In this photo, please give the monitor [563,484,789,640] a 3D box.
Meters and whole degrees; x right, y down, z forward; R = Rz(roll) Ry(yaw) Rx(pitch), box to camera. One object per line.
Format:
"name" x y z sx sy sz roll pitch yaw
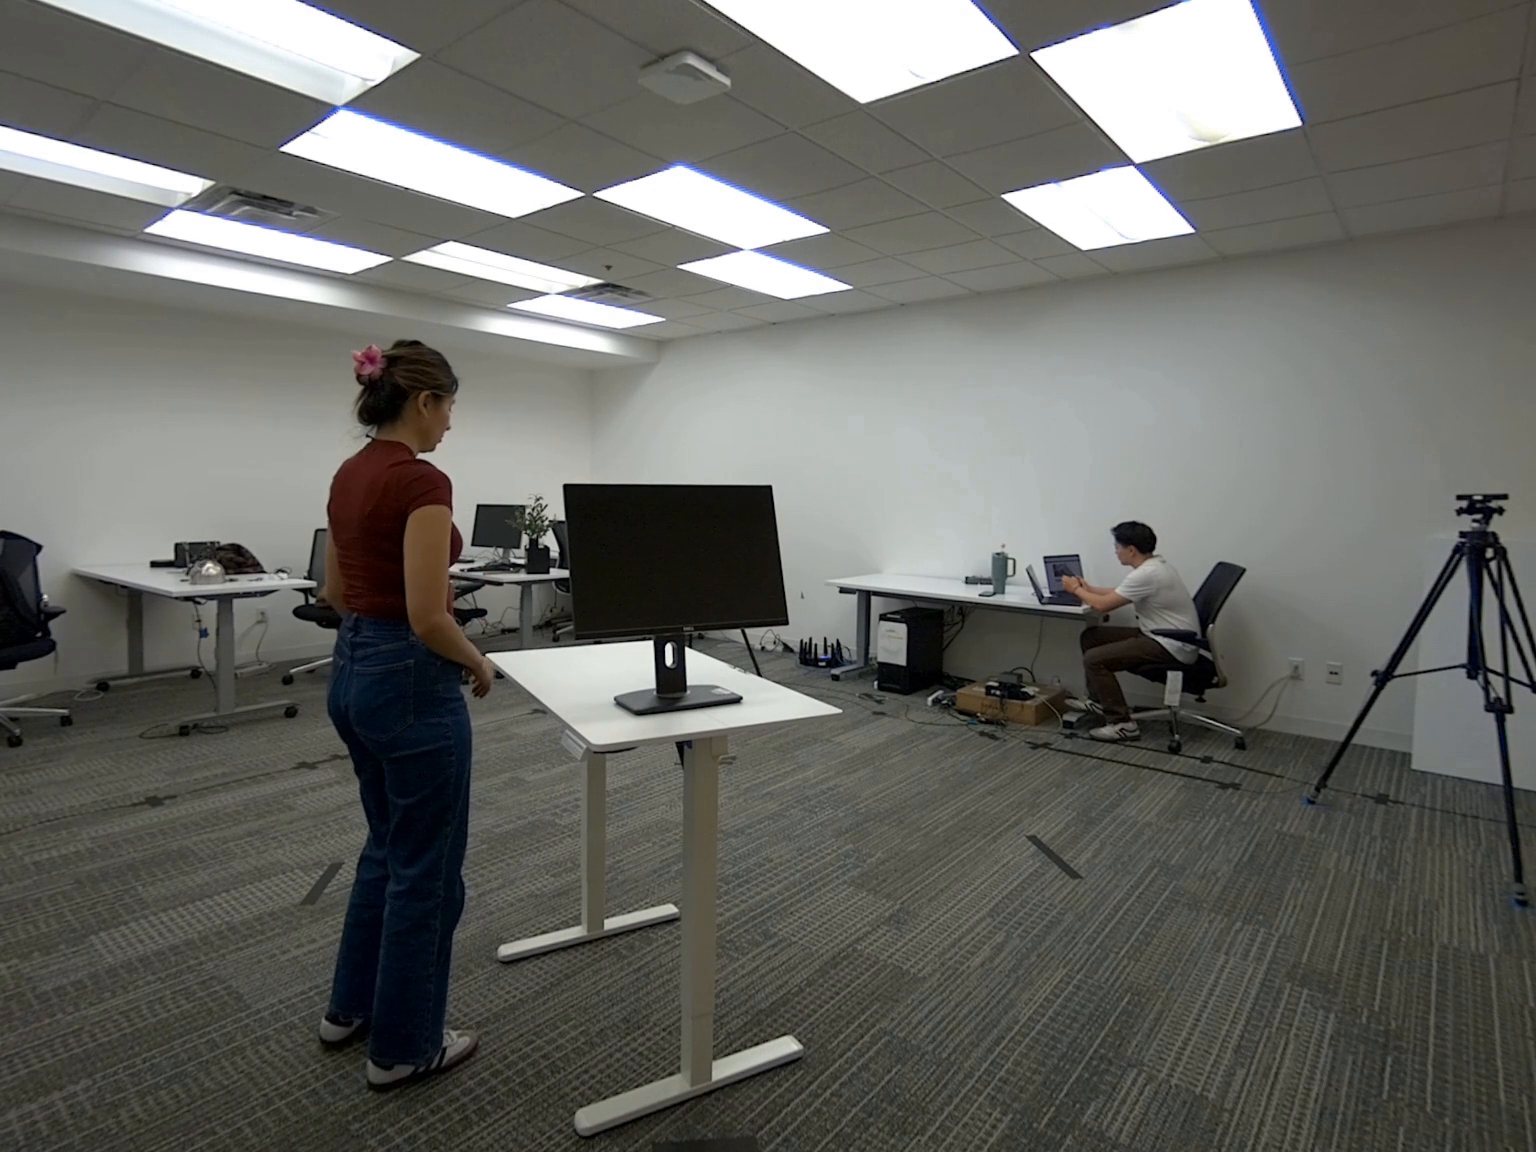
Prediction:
"monitor" -0.224 0.044 2.015 0.525 0.522 0.192 -2 1 -28
